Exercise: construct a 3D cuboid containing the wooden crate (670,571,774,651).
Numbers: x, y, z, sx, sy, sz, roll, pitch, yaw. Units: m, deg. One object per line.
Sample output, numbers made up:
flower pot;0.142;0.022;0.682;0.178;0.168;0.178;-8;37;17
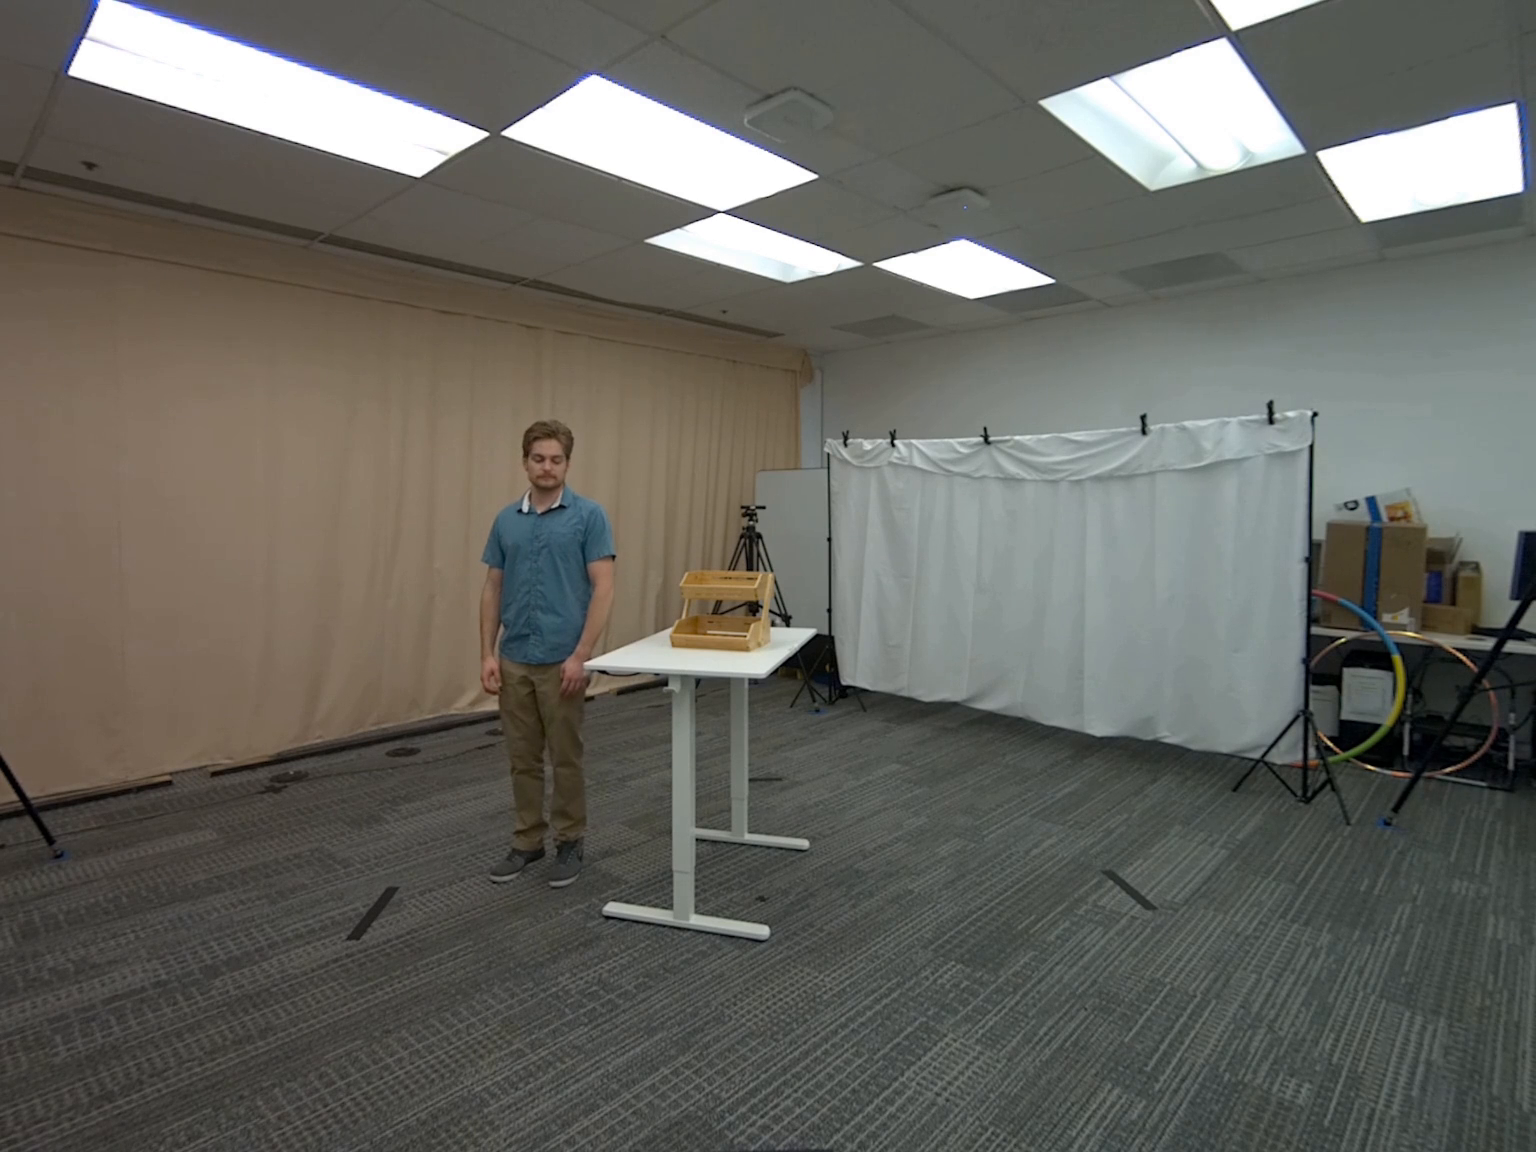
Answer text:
wooden crate;-0.165;0.119;3.103;0.331;0.273;0.296;1;3;20
